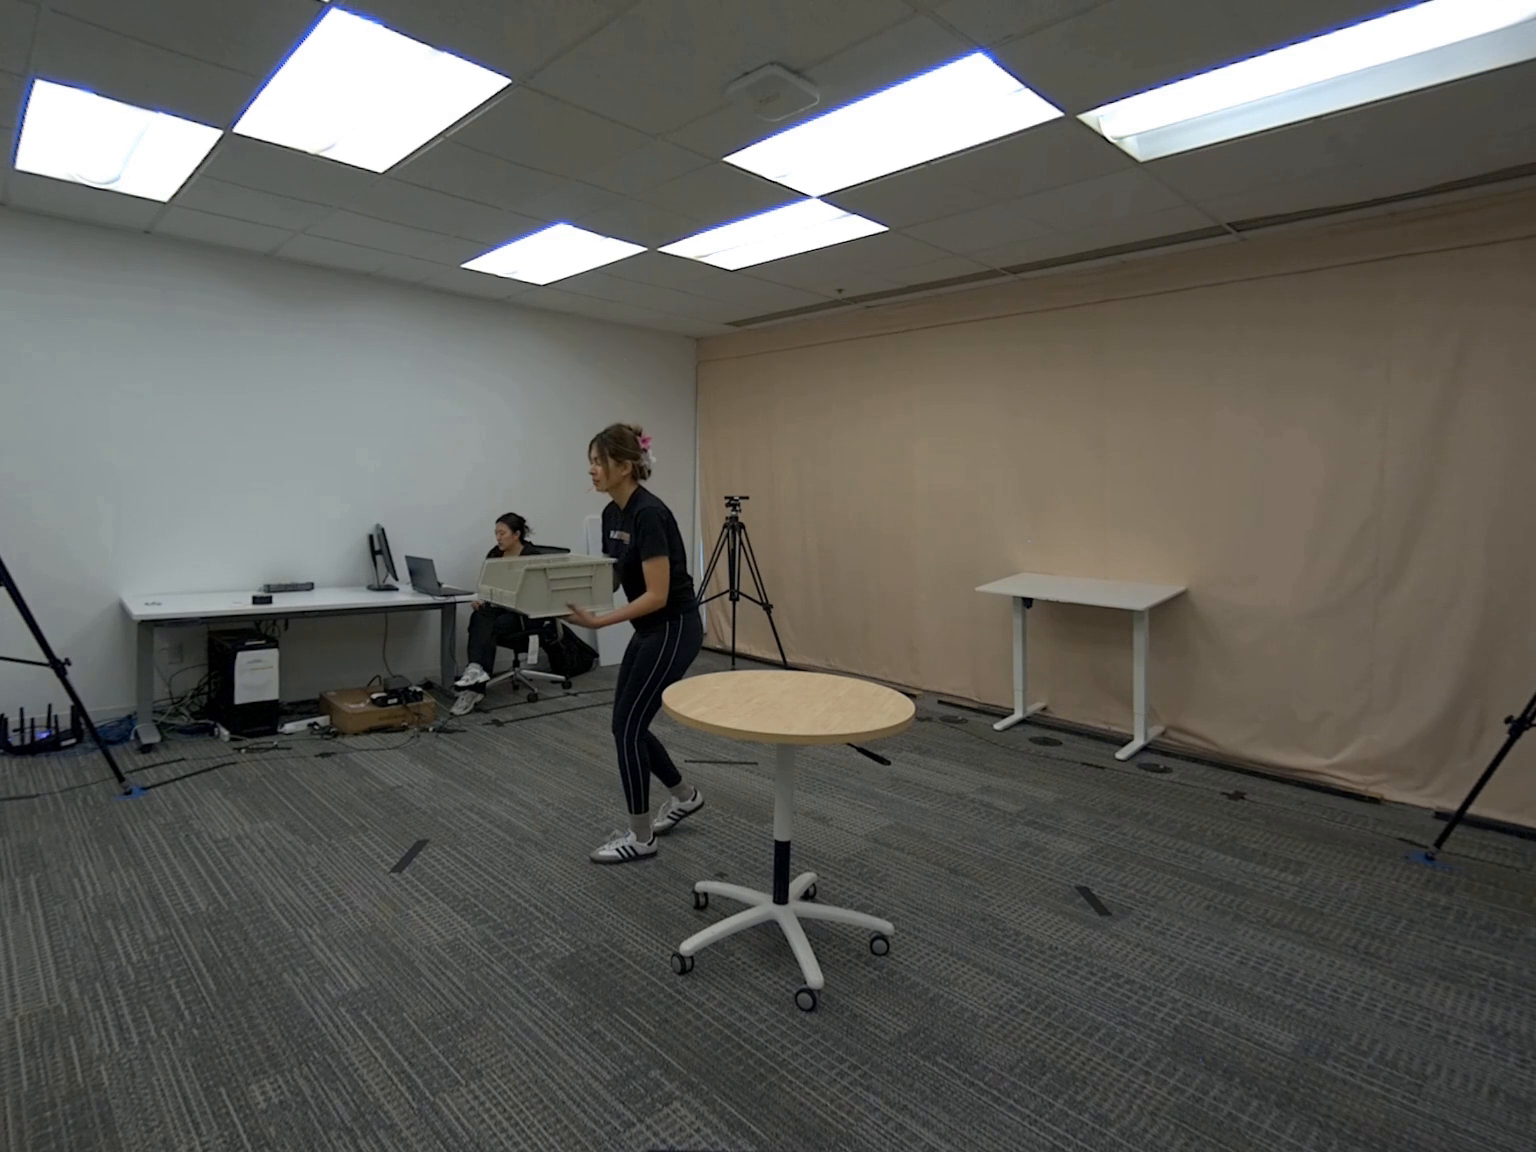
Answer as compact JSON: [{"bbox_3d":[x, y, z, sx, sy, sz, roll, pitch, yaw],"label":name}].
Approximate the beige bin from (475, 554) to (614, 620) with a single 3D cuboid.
[{"bbox_3d":[-0.815,0.036,3.061,0.369,0.188,0.432,-2,5,-36],"label":"beige bin"}]
